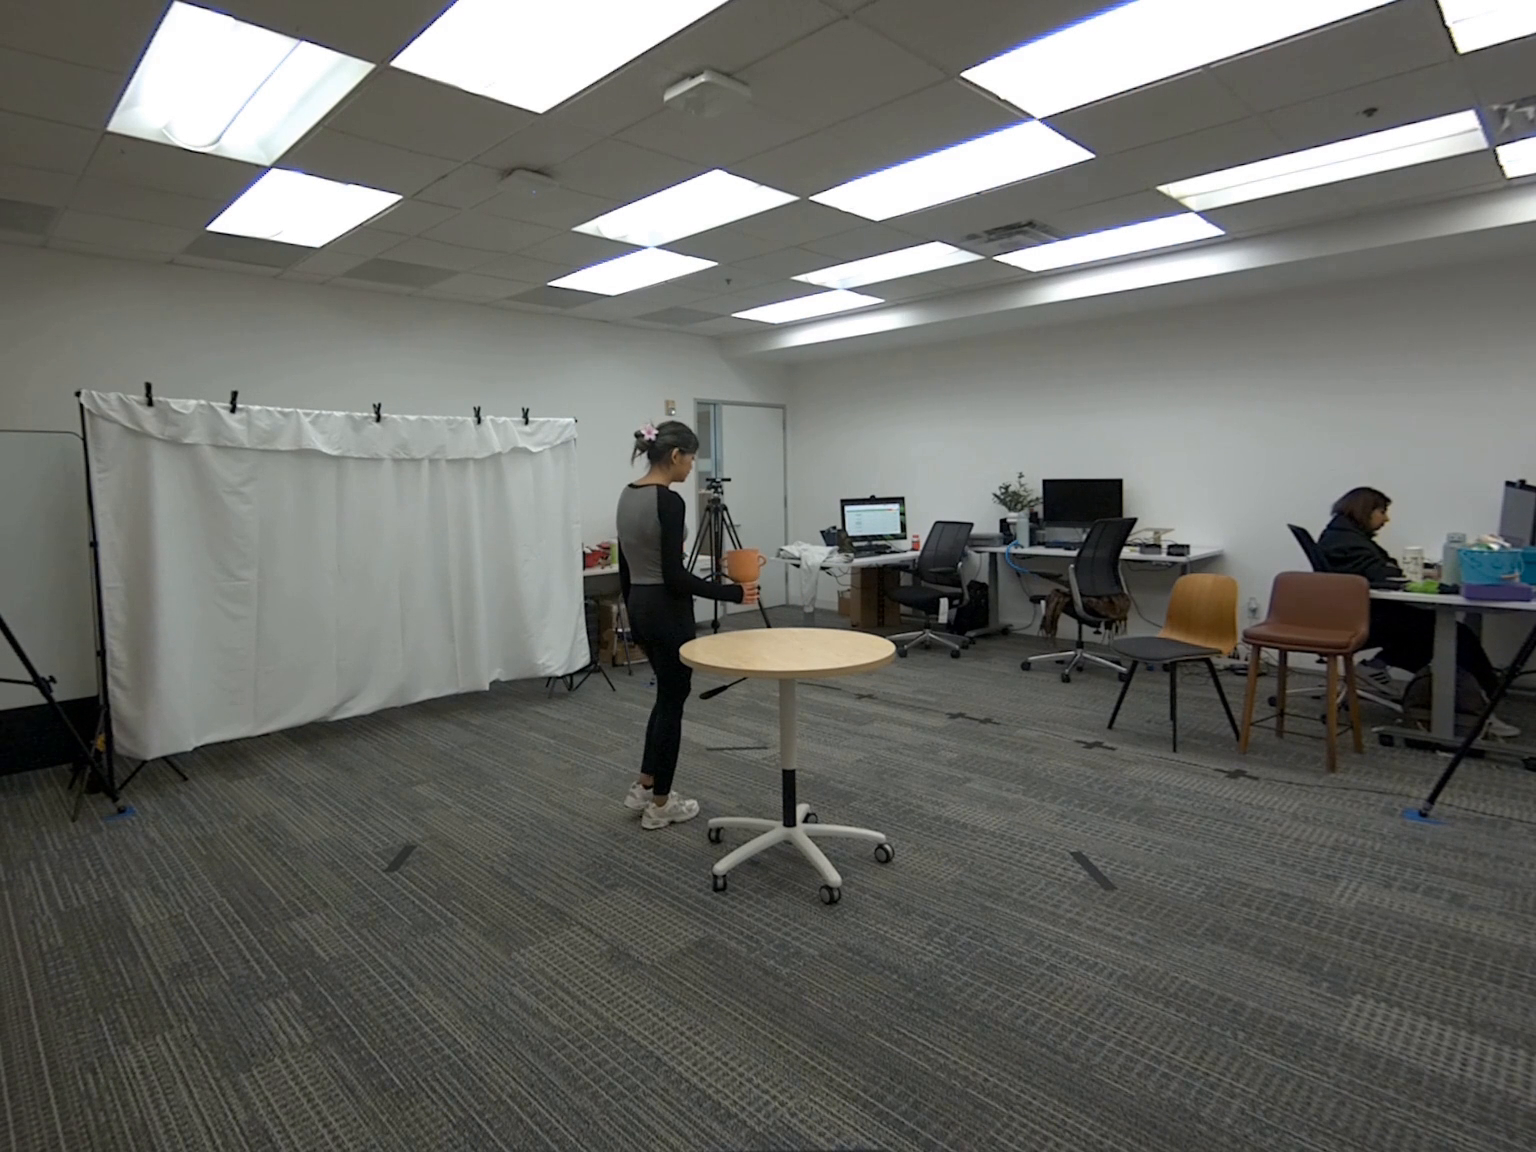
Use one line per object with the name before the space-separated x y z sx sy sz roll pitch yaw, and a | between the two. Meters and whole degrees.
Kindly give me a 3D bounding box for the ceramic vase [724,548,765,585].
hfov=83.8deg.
ceramic vase | -0.096 0.001 3.446 0.131 0.220 0.162 -4 0 -31
